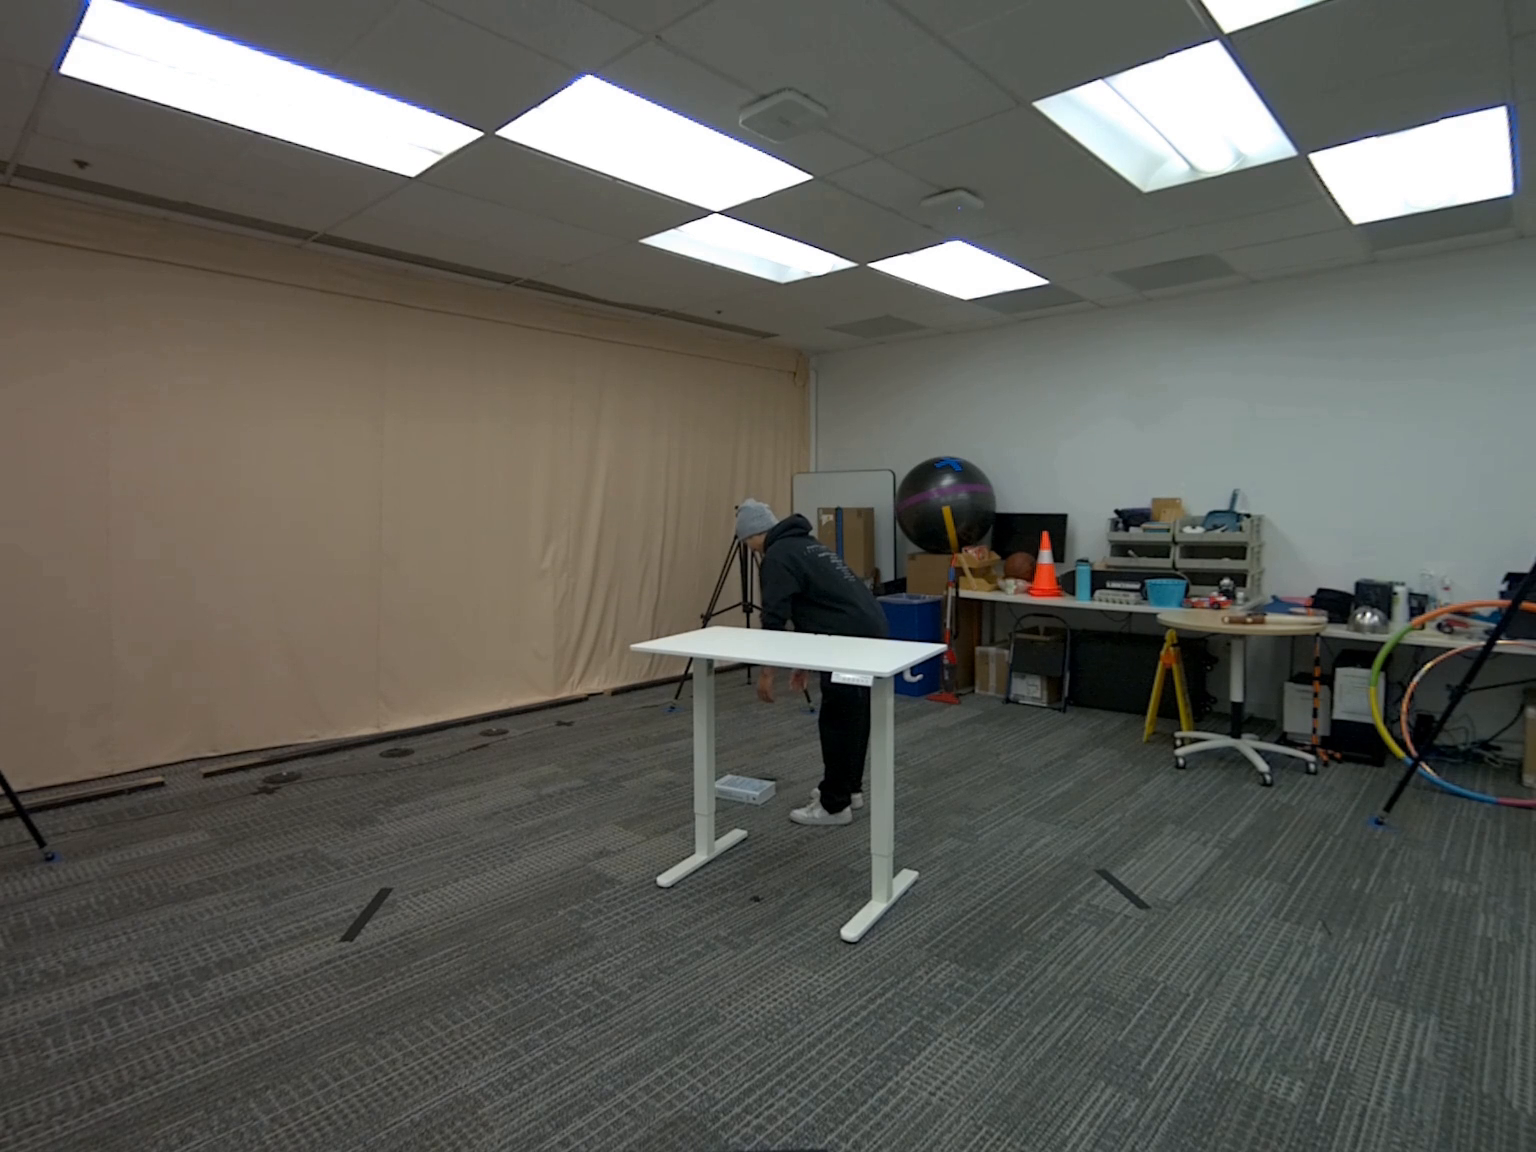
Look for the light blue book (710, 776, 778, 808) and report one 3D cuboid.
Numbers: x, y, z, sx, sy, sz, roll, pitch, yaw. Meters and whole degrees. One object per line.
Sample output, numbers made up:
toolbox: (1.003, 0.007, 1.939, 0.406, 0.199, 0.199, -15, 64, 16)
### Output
light blue book: (-0.118, 1.032, 4.066, 0.268, 0.059, 0.186, 2, 4, 28)
